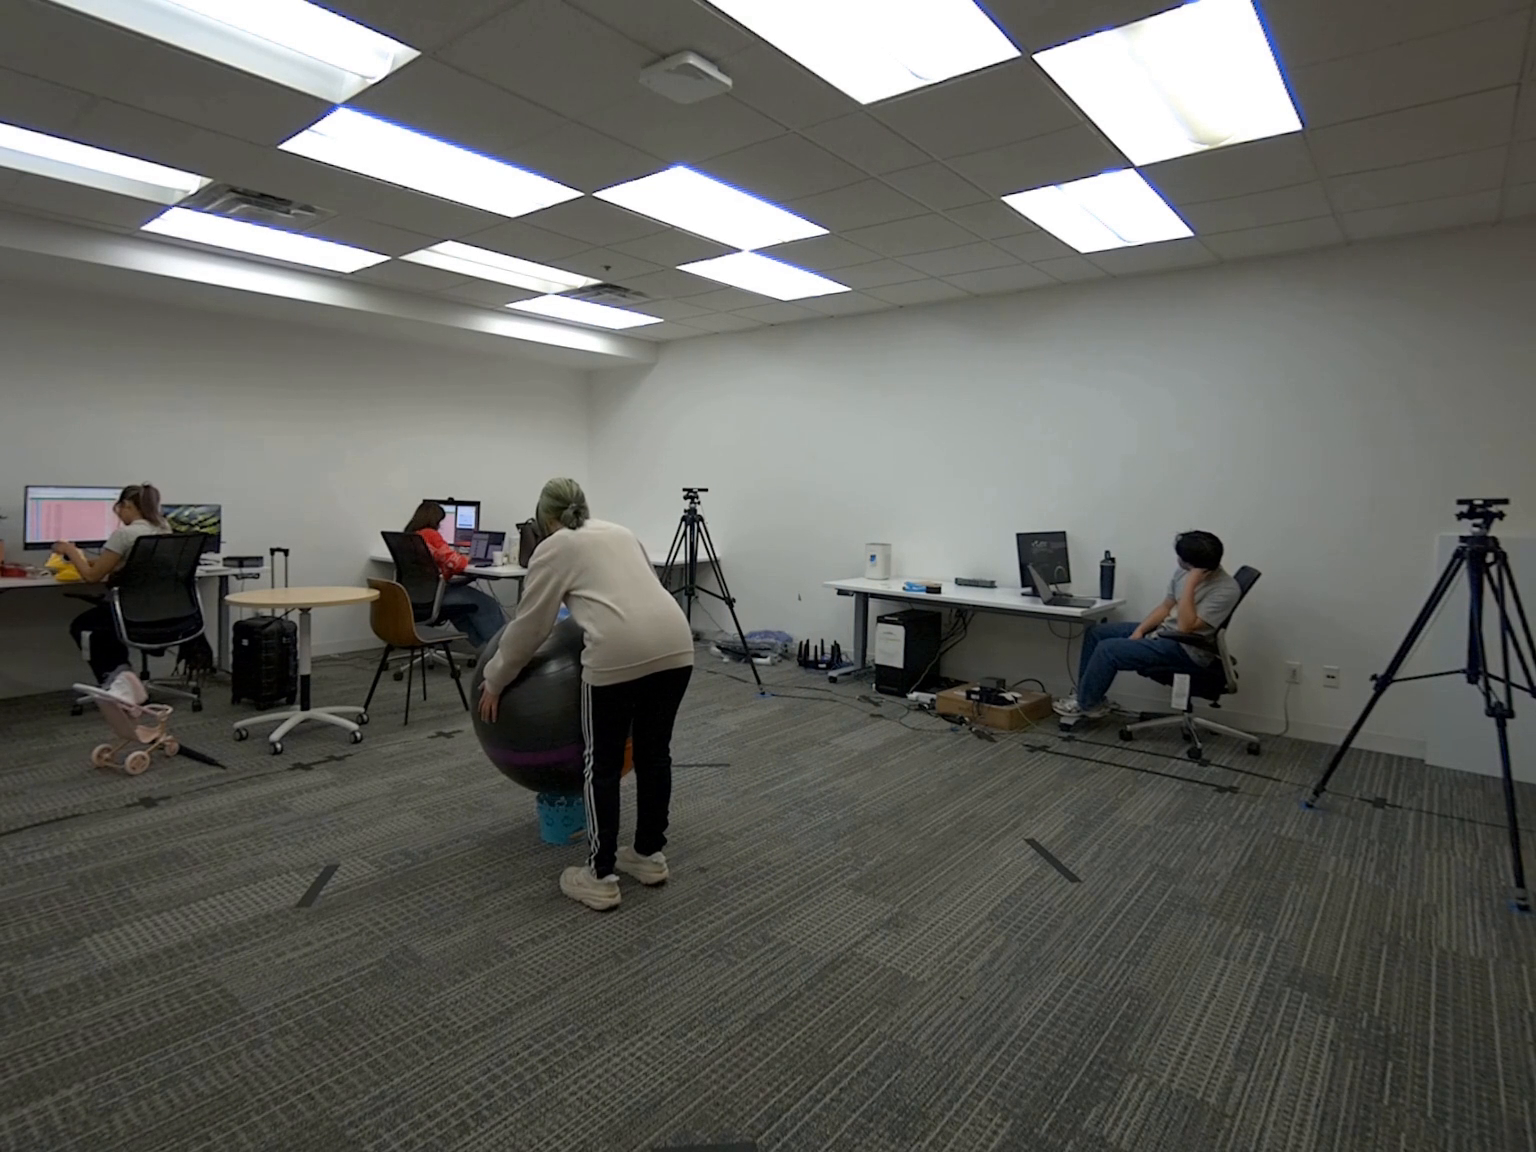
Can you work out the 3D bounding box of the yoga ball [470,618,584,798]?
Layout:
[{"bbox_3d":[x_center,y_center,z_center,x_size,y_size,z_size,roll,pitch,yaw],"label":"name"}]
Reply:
[{"bbox_3d":[-0.796,0.471,3.350,0.757,0.755,0.762,1,4,-2],"label":"yoga ball"}]
